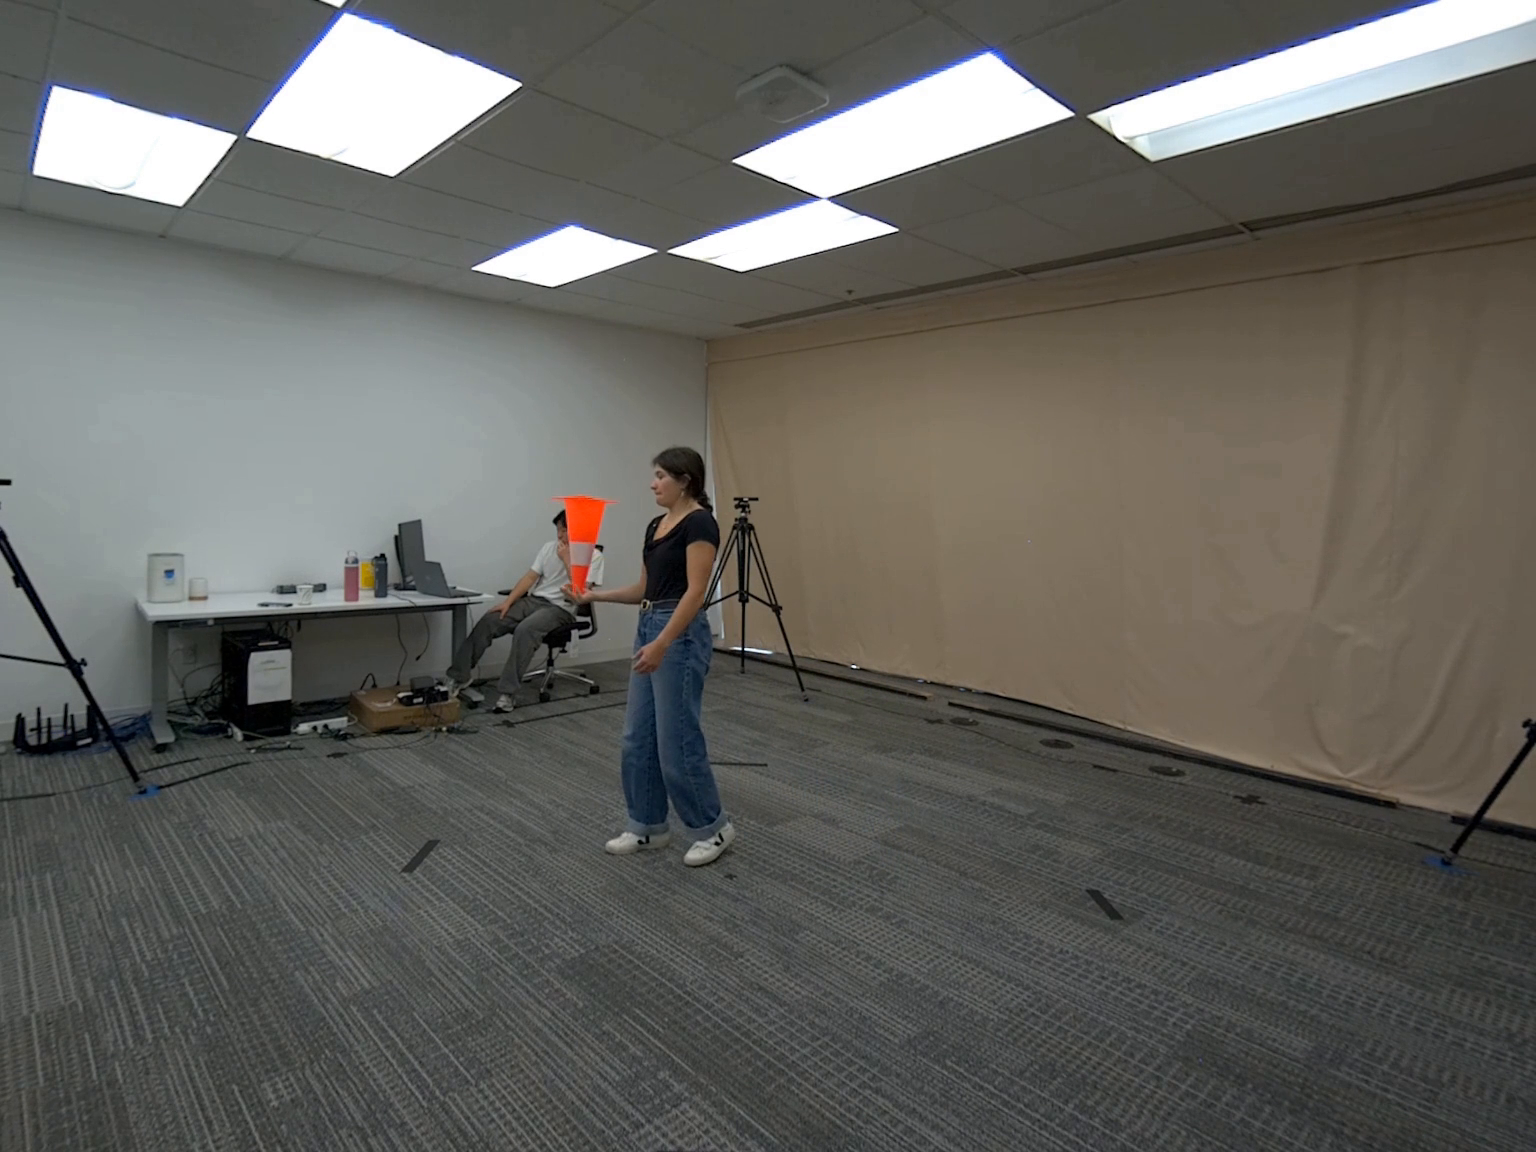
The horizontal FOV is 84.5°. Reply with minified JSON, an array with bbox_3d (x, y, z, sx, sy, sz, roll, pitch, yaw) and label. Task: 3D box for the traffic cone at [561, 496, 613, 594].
[{"bbox_3d":[-0.727,-0.110,3.267,0.200,0.385,0.207,8,-4,-29],"label":"traffic cone"}]
